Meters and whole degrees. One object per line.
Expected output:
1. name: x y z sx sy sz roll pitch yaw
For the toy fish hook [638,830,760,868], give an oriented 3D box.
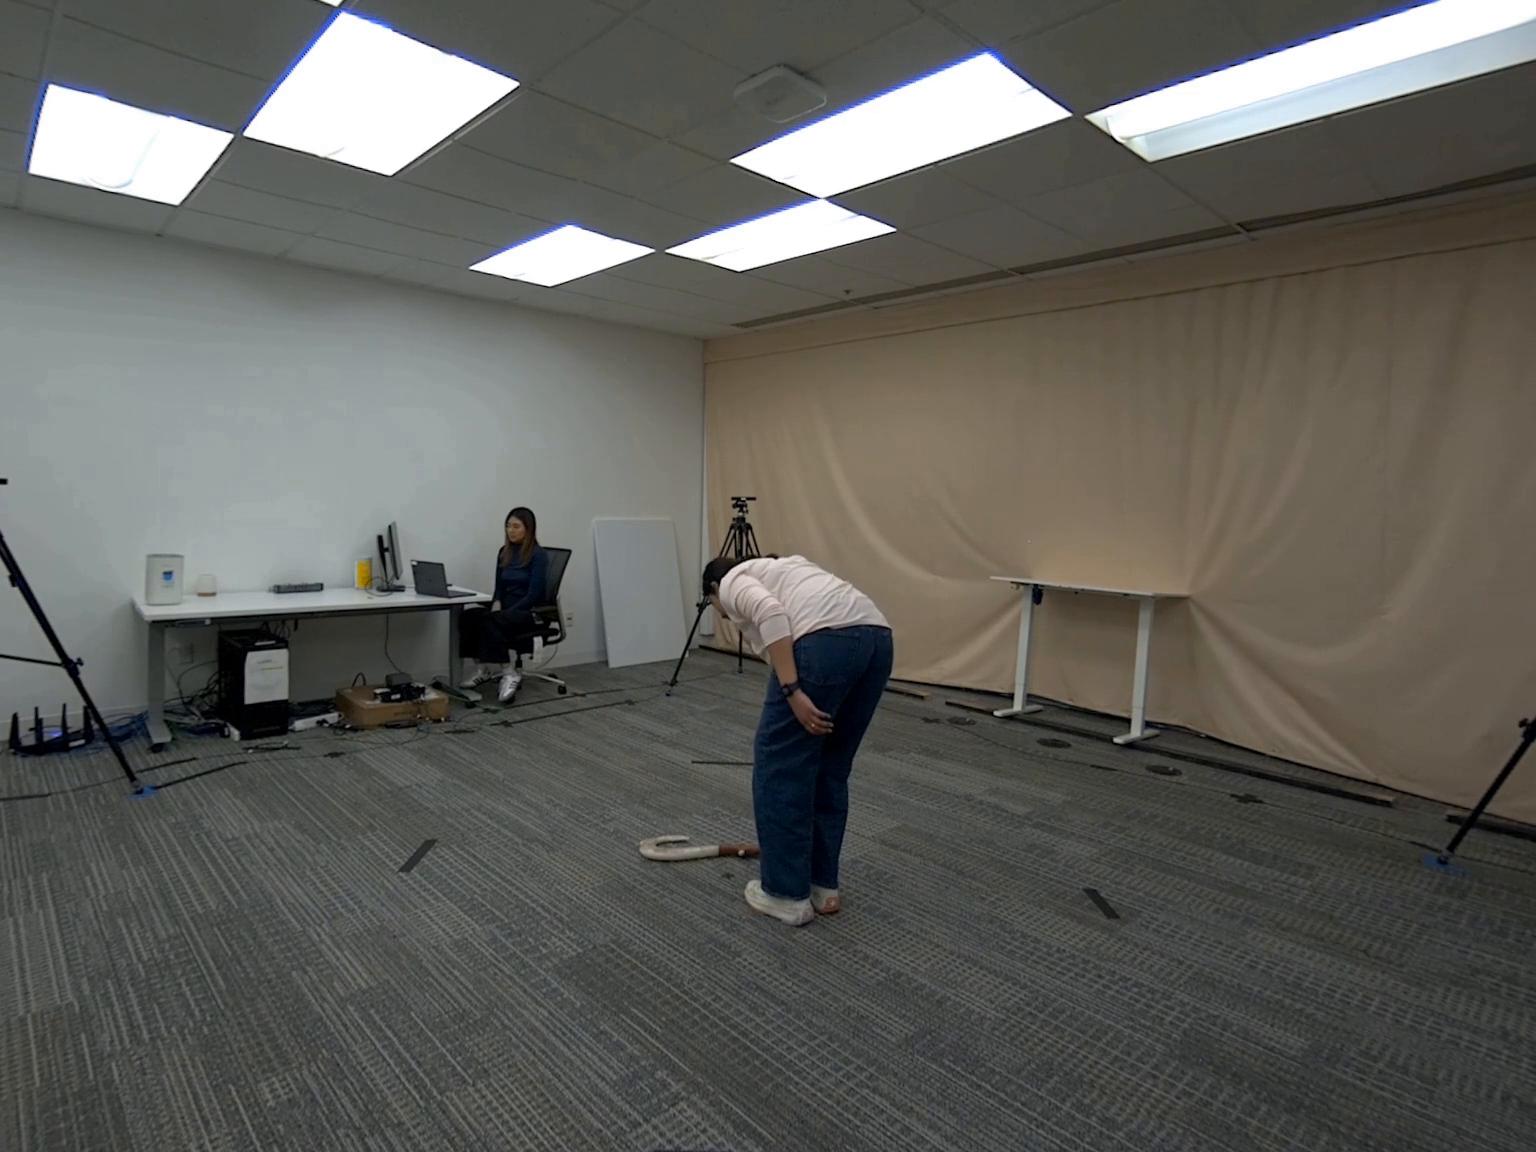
1. toy fish hook: -0.250 1.062 3.310 0.505 0.048 0.226 1 6 -4
